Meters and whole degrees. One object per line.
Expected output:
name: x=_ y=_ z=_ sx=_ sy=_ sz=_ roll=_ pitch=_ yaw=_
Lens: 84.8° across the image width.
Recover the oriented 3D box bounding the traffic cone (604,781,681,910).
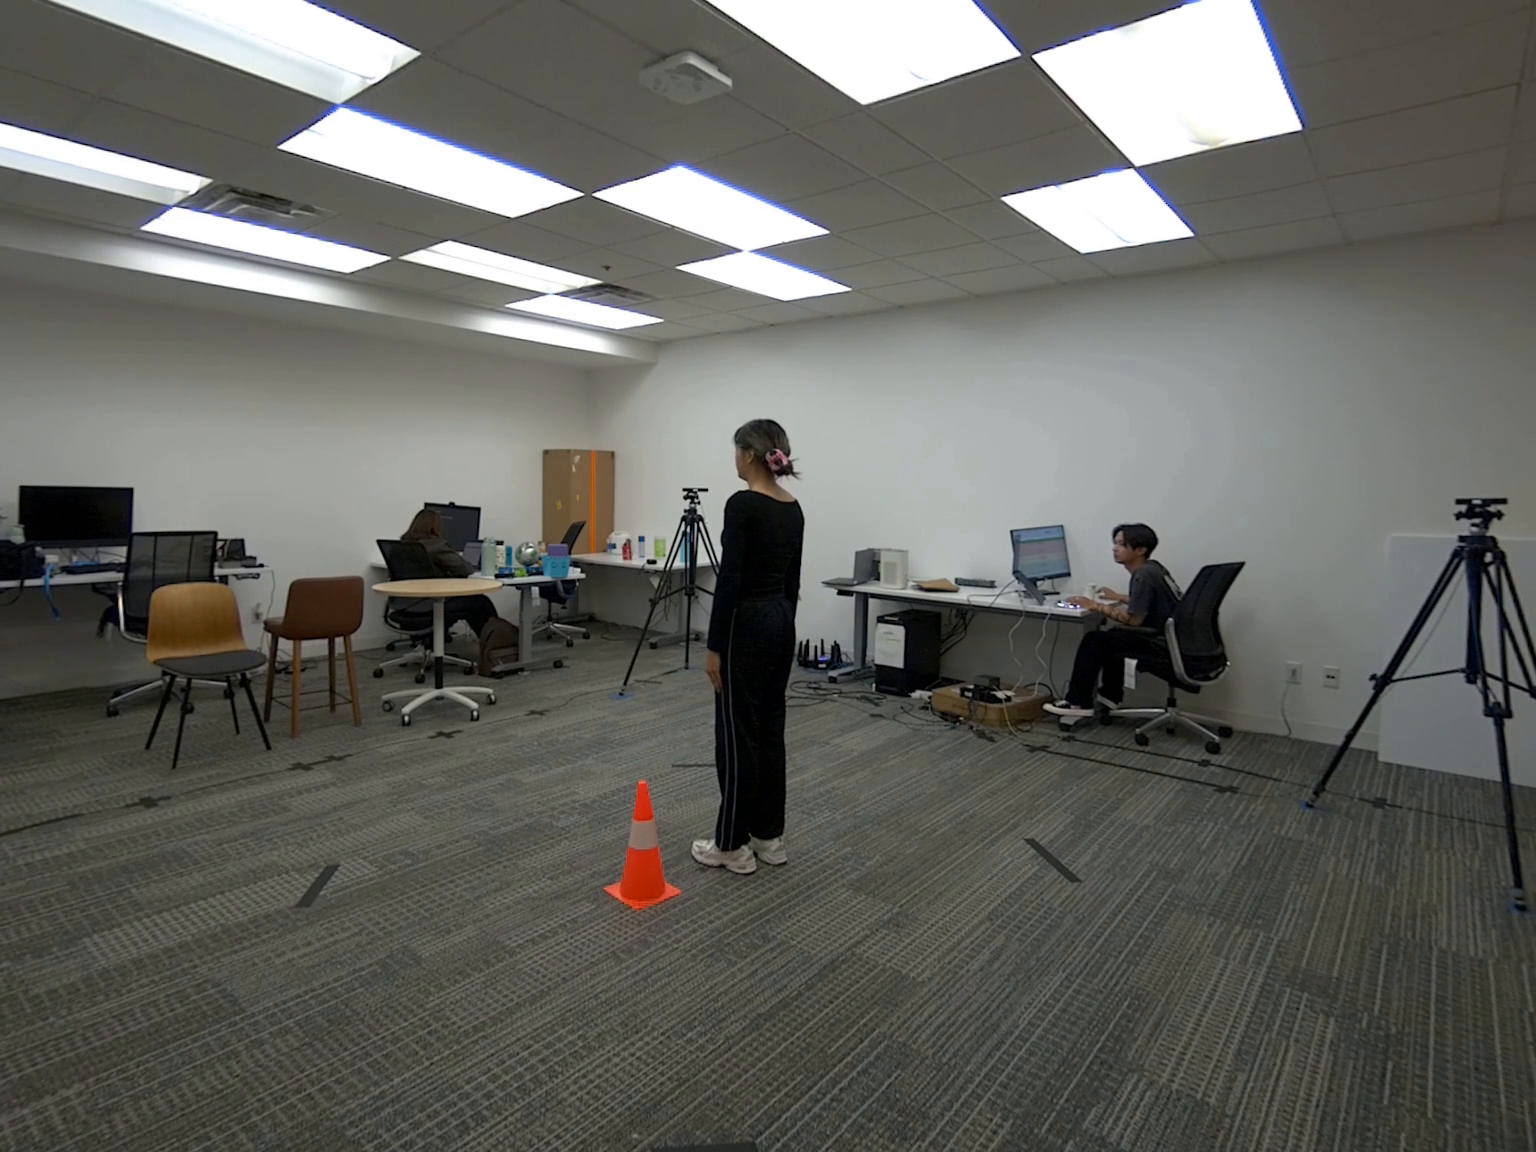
traffic cone: x=-0.442 y=0.900 z=2.926 sx=0.197 sy=0.383 sz=0.211 roll=-2 pitch=2 yaw=-39
